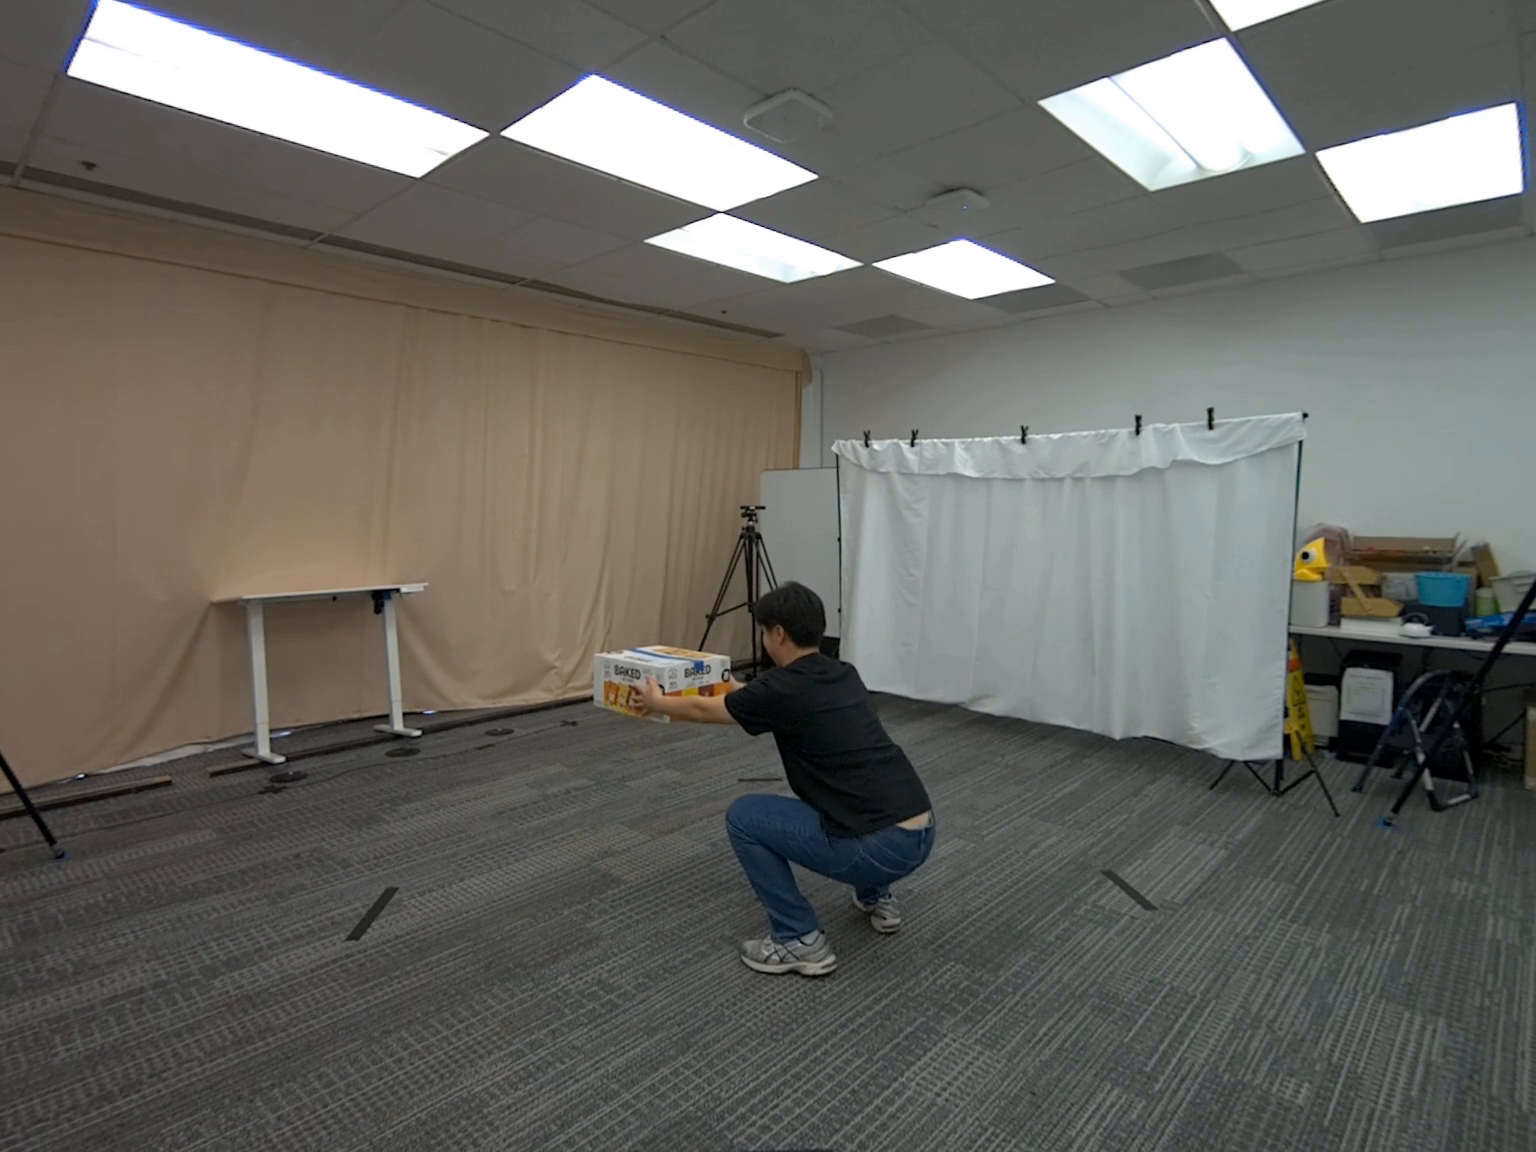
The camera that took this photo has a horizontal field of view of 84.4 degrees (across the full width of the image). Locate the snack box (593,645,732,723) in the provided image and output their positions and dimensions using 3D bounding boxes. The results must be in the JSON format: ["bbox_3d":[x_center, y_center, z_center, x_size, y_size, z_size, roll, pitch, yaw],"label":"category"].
[{"bbox_3d":[-0.405,0.395,3.224,0.418,0.205,0.330,3,4,42],"label":"snack box"}]
